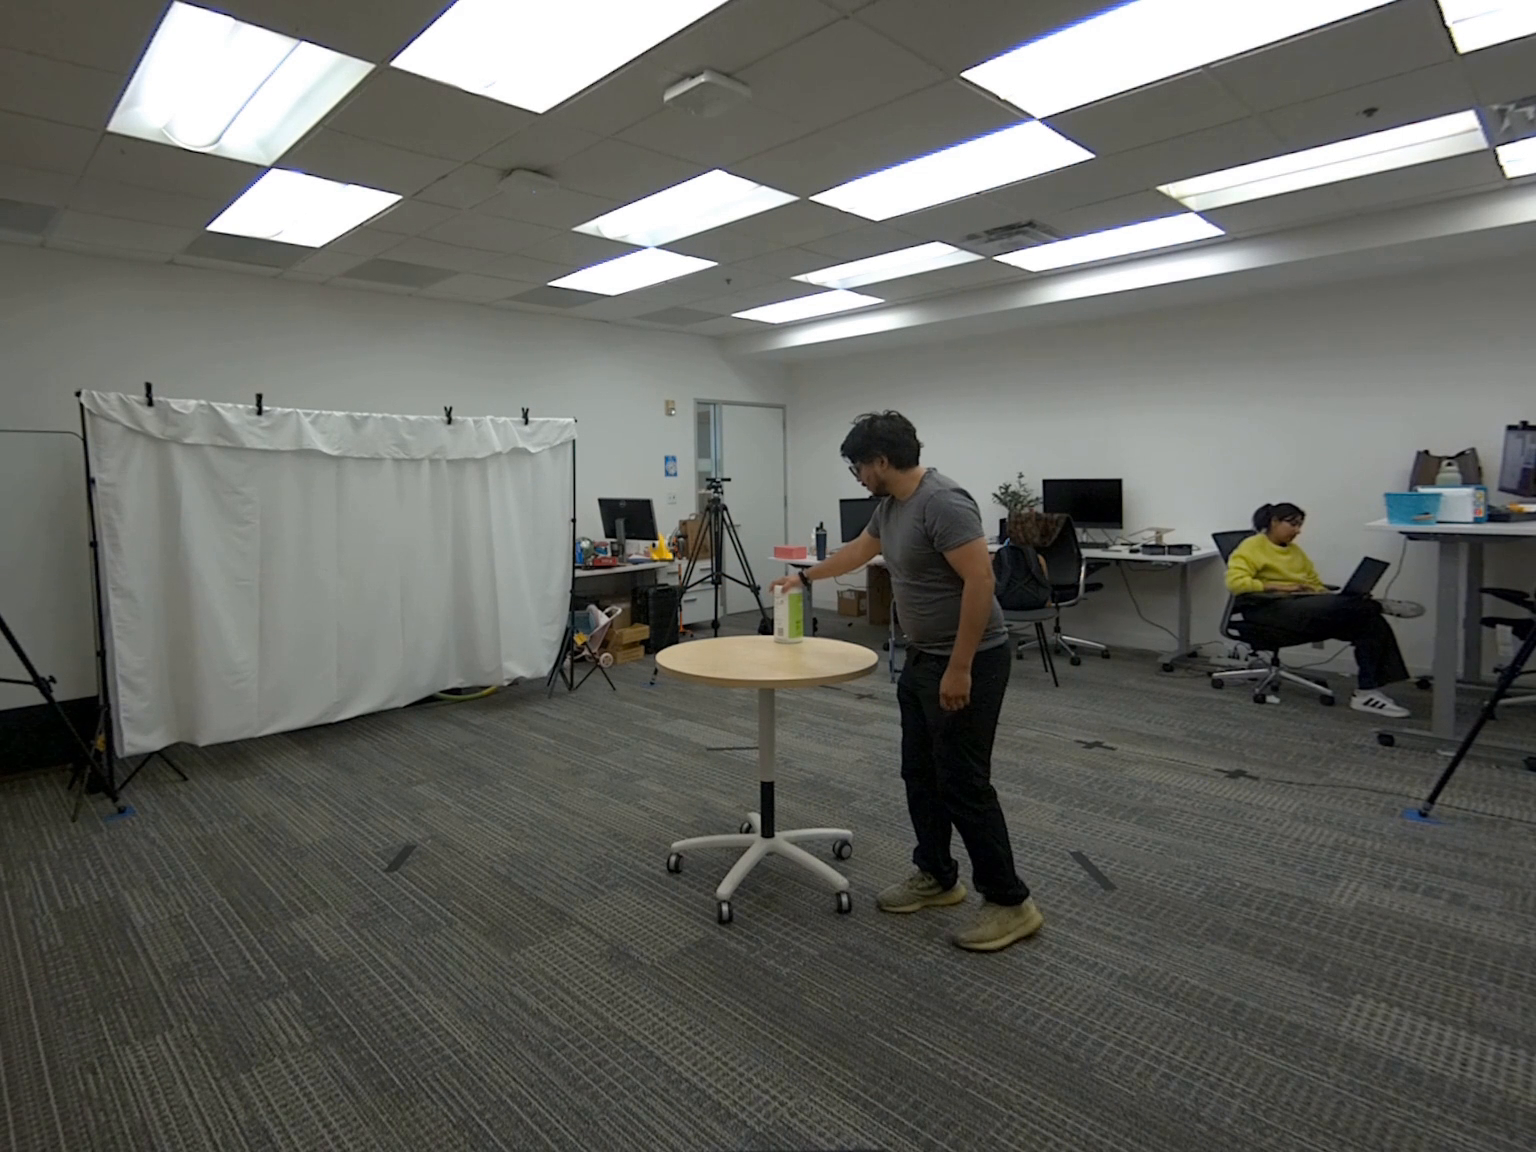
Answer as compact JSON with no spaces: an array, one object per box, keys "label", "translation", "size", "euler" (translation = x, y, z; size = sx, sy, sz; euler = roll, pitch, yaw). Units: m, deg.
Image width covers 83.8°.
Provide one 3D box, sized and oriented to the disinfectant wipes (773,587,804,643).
[{"label":"disinfectant wipes","translation":[0.080,0.141,3.213],"size":[0.118,0.217,0.118],"euler":[1,3,-2]}]
